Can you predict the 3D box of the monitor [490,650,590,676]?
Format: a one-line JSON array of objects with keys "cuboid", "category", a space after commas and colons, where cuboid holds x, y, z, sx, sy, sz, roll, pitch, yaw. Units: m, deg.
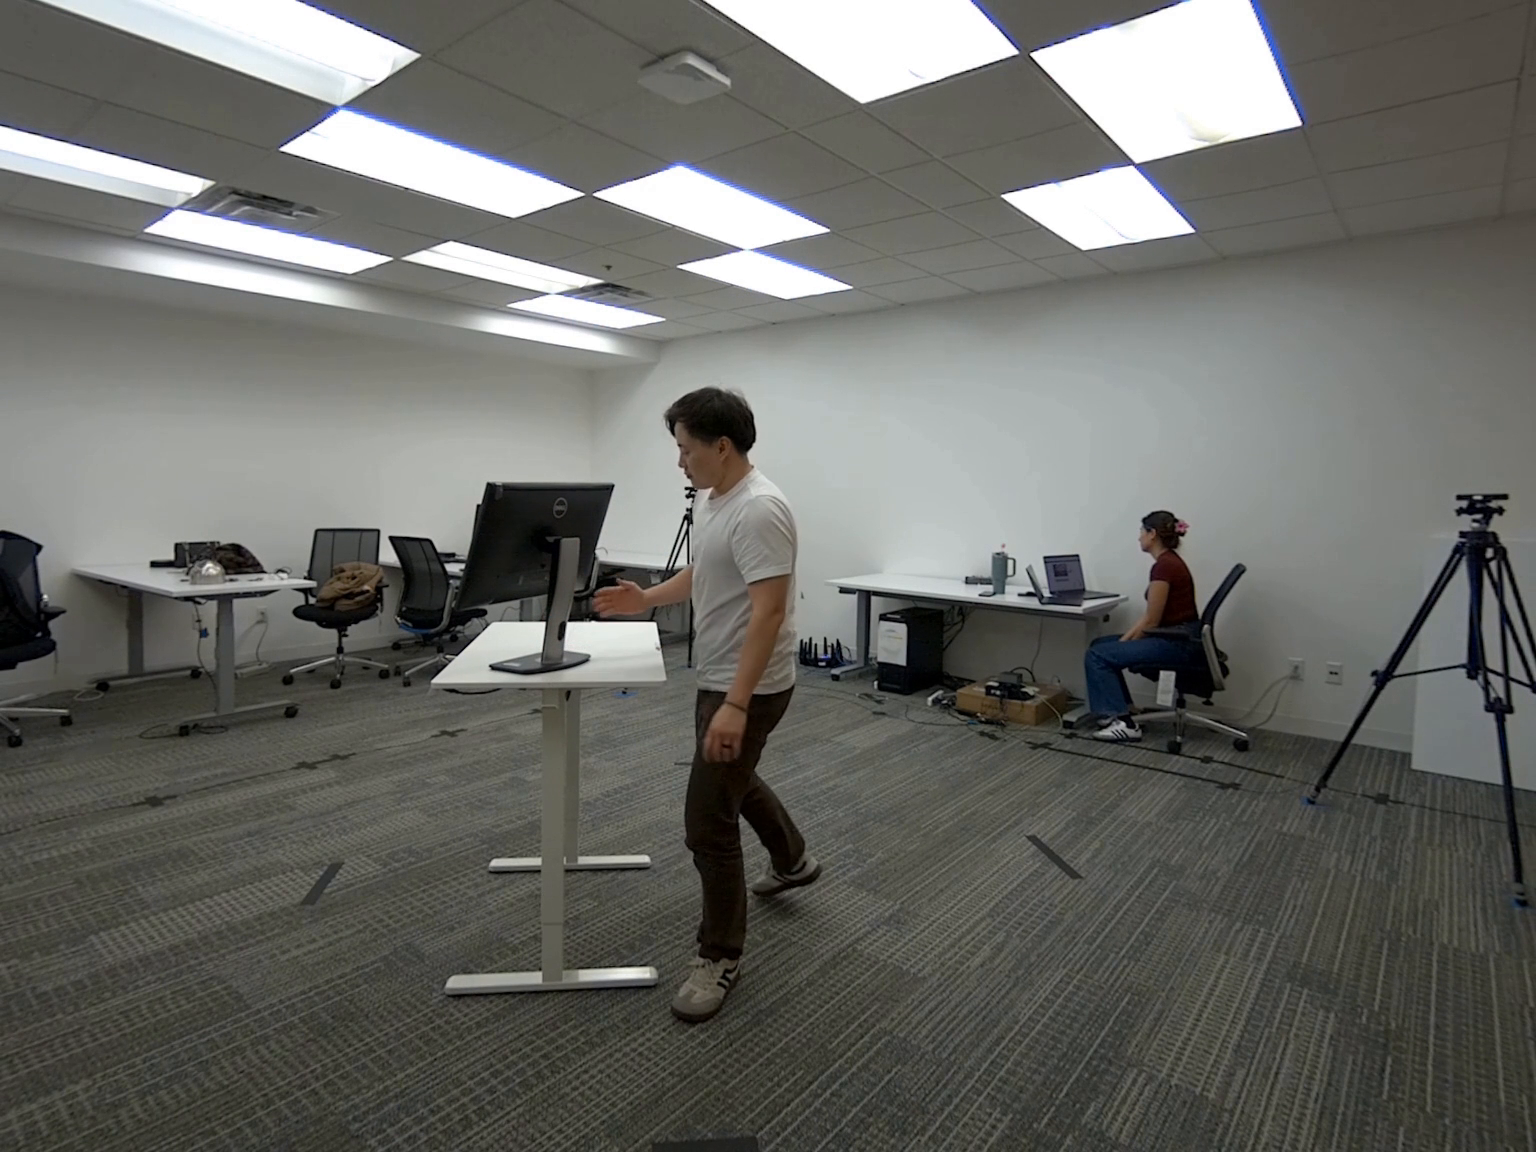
[{"cuboid": [-0.627, -0.001, 2.385, 0.192, 0.520, 0.529, 8, 7, 21], "category": "monitor"}]
